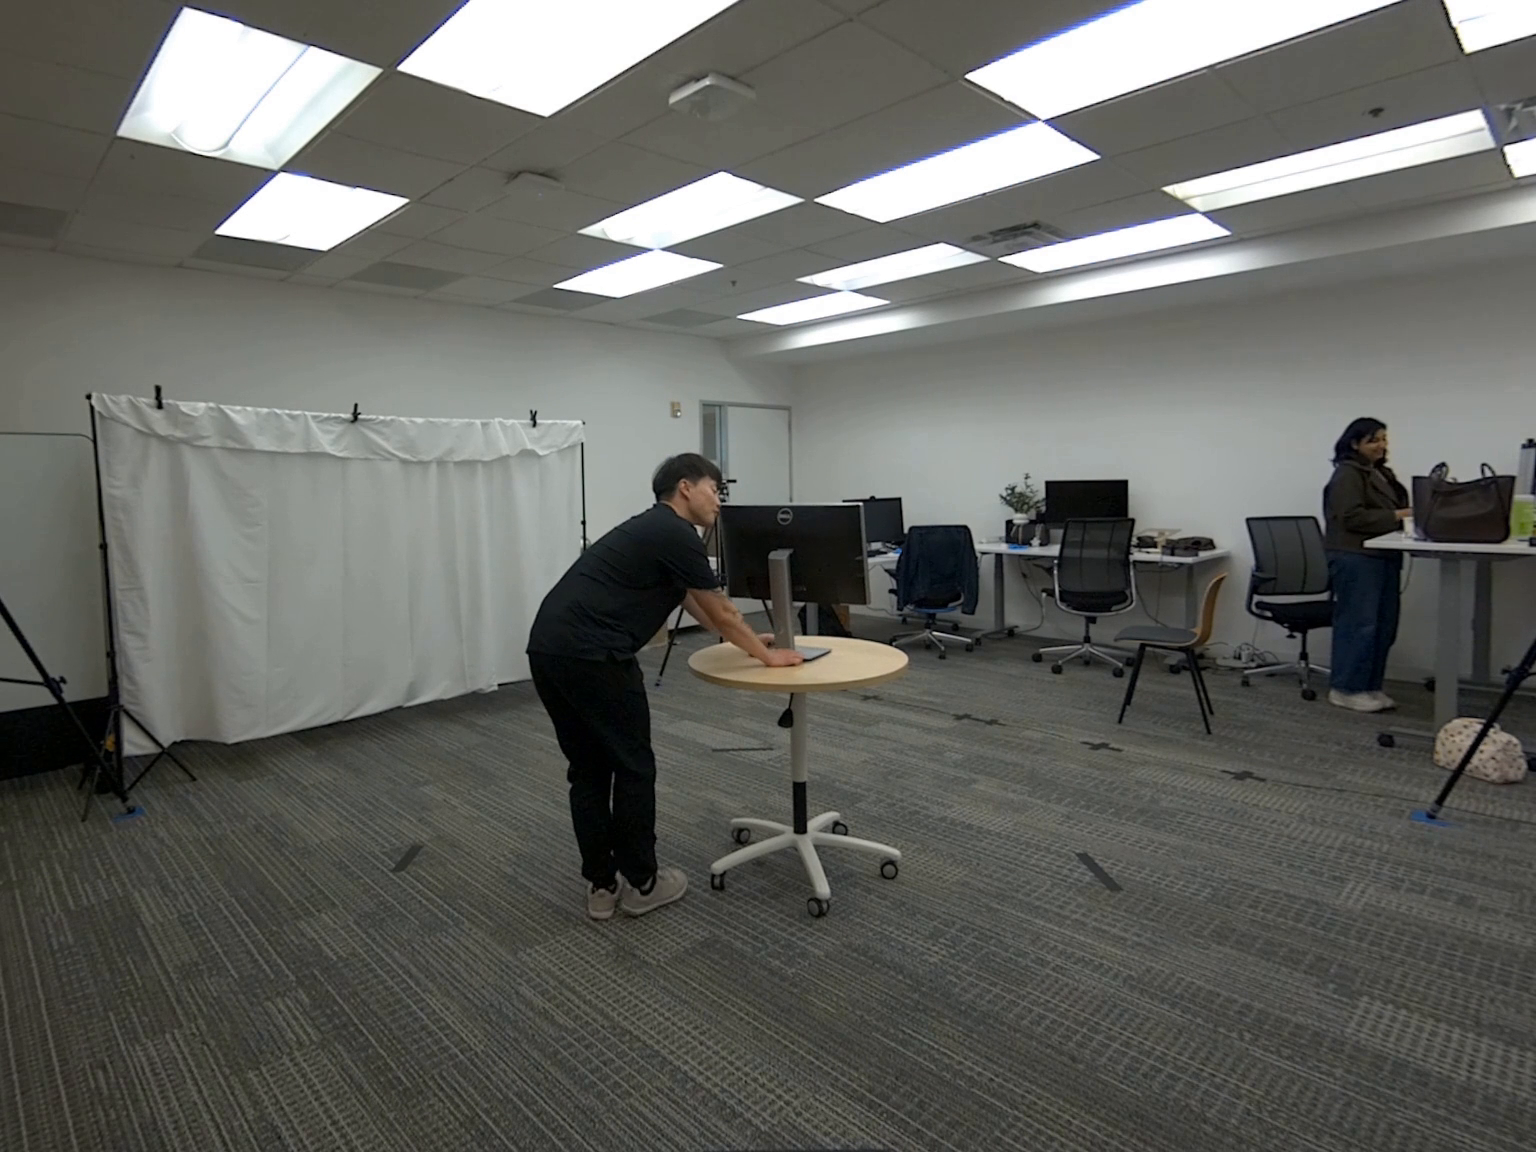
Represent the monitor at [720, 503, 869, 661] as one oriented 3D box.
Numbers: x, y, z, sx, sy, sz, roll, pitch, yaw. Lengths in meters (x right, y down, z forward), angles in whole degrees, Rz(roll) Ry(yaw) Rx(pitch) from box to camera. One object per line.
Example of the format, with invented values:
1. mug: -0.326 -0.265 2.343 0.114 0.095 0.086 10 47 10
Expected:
1. monitor: 0.075 0.014 3.043 0.552 0.521 0.183 2 3 27
